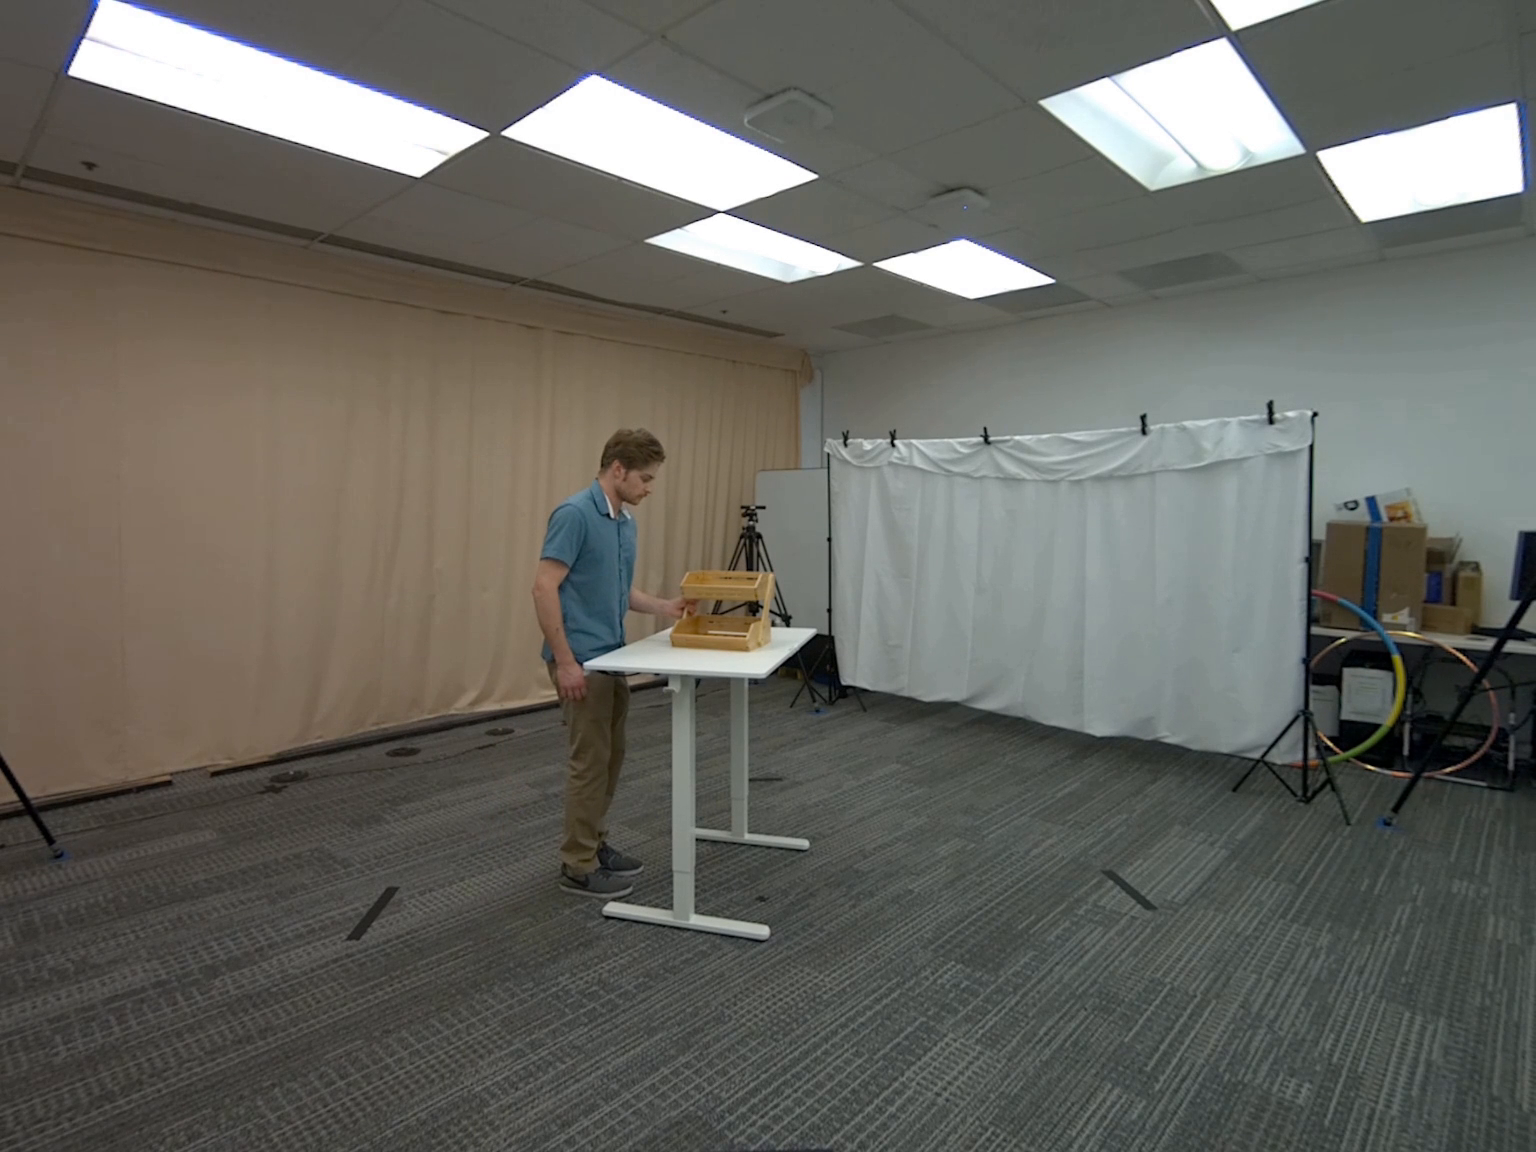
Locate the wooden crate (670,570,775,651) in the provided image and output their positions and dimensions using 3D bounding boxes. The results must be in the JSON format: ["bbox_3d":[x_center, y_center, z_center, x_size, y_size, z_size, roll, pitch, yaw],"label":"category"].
[{"bbox_3d":[-0.162,0.122,3.101,0.332,0.273,0.296,1,4,21],"label":"wooden crate"}]
